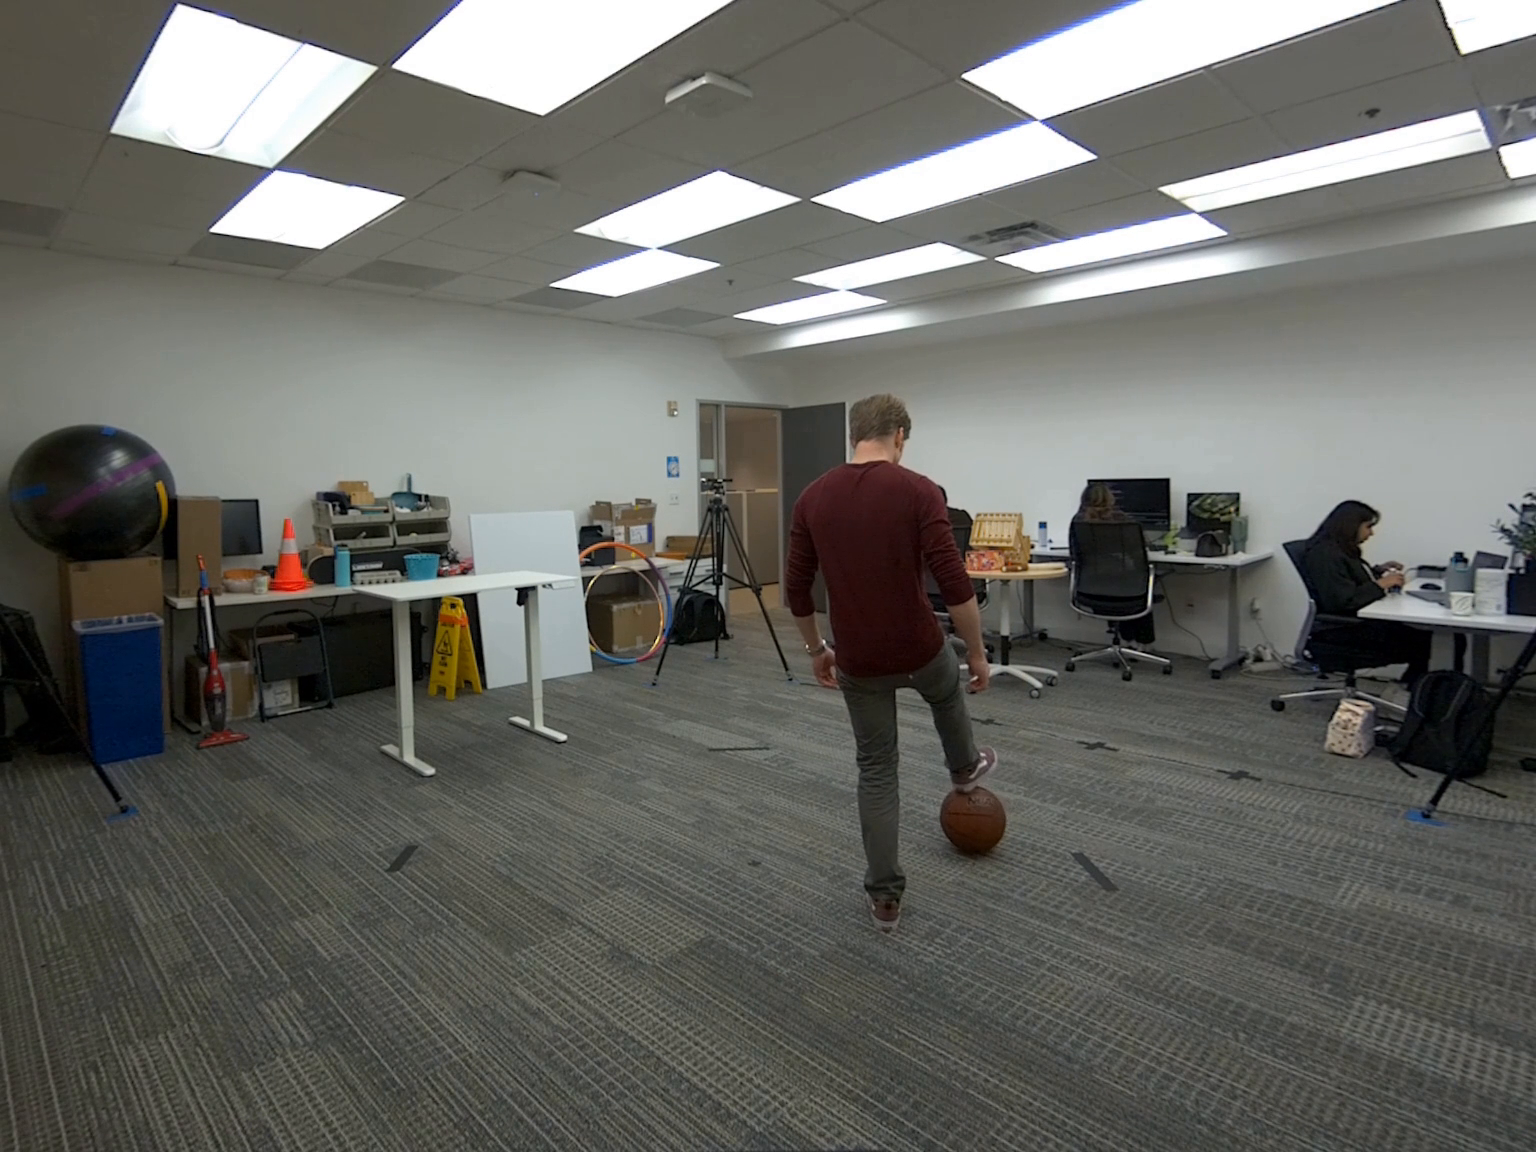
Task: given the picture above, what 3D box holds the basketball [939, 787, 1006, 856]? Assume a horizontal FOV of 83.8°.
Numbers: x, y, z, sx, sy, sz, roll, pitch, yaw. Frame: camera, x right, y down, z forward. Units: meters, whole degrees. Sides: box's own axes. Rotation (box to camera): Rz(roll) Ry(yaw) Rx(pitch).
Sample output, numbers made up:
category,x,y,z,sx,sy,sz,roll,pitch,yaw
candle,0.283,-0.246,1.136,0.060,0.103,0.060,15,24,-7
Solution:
category,x,y,z,sx,sy,sz,roll,pitch,yaw
basketball,0.766,0.904,3.189,0.236,0.235,0.237,-1,5,-2
